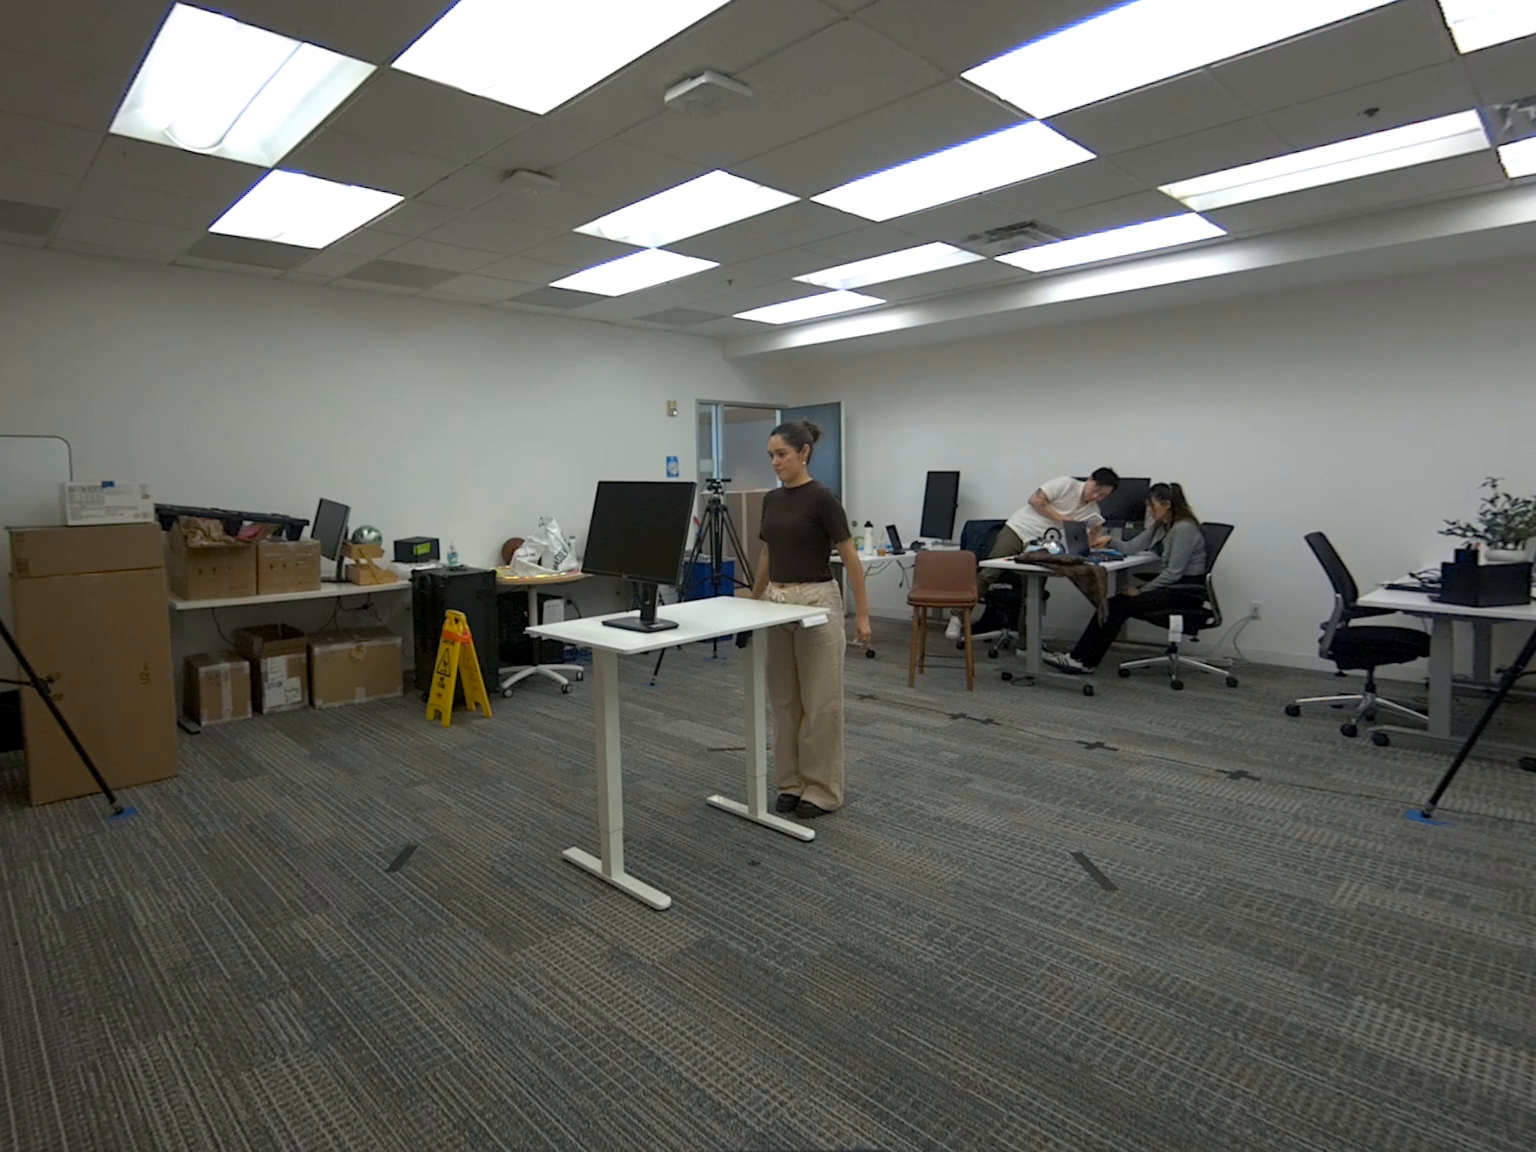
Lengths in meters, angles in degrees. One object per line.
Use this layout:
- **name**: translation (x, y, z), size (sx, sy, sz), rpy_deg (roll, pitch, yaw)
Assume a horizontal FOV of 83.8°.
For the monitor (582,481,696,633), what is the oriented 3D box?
- **monitor**: translation (-0.452, -0.078, 3.030), size (0.547, 0.513, 0.170), rpy_deg (6, 9, 43)
